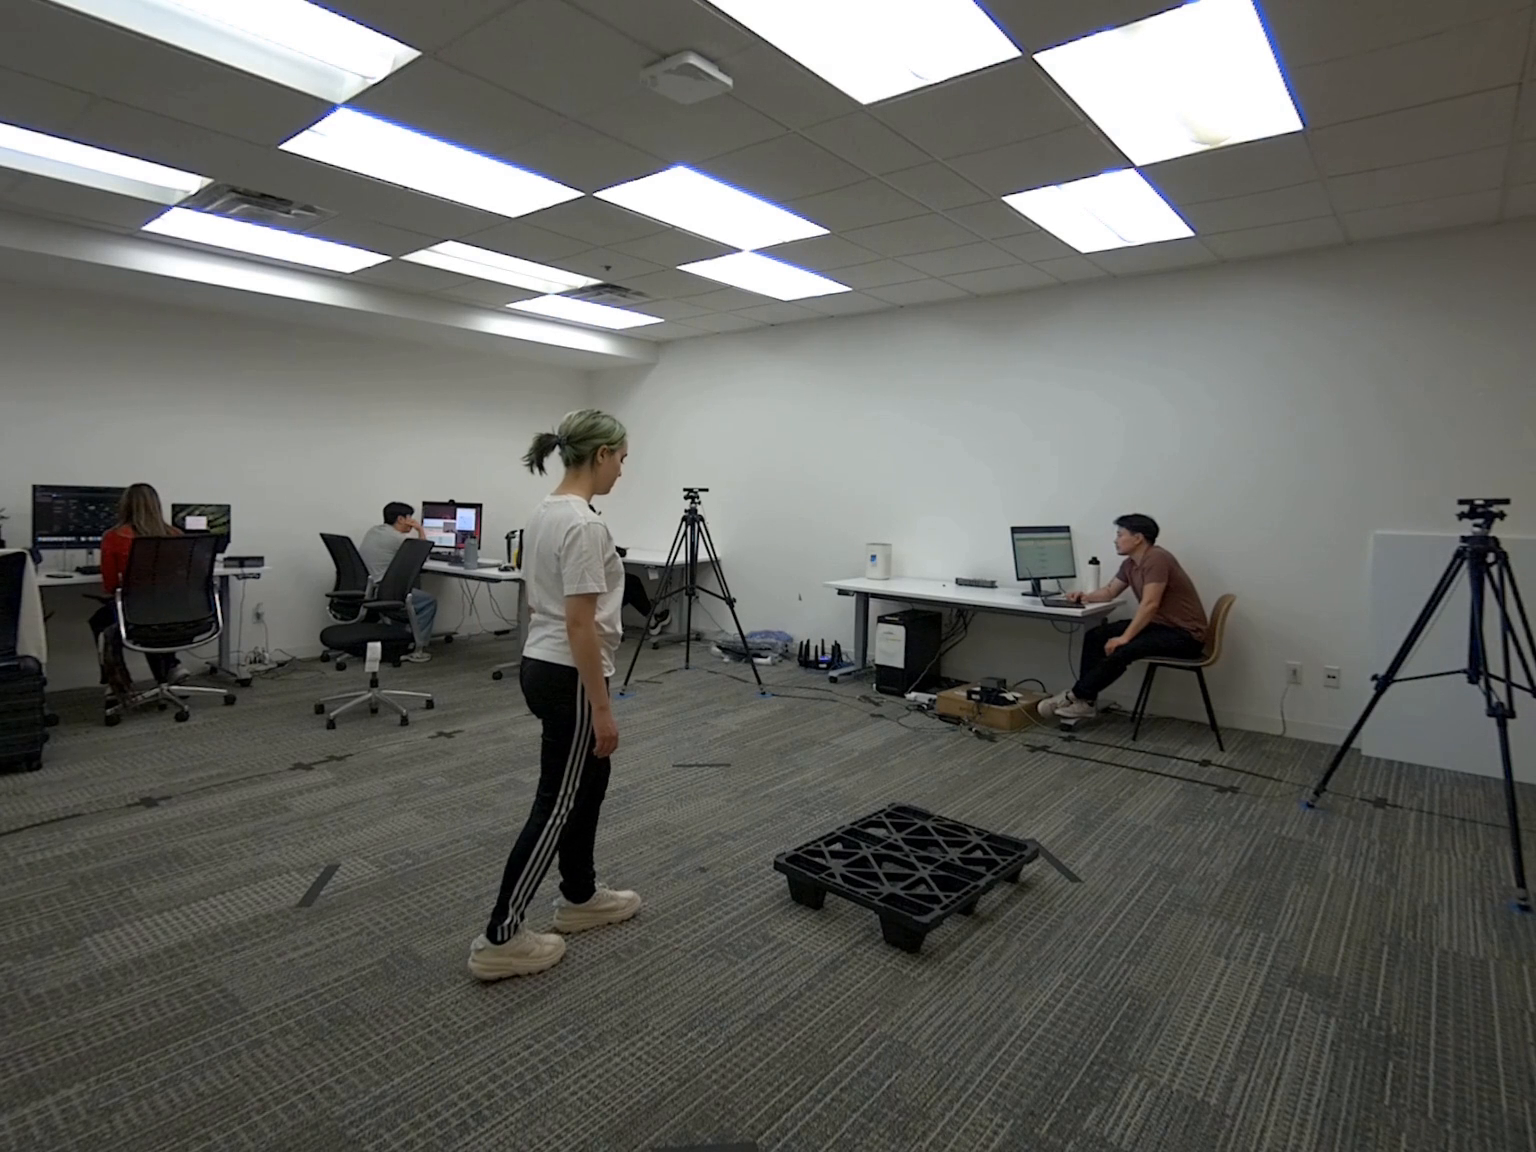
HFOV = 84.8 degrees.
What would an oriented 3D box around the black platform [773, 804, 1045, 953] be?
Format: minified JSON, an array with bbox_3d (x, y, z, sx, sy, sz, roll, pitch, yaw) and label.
[{"bbox_3d":[0.486,1.031,2.988,0.626,0.143,0.781,6,7,42],"label":"black platform"}]
